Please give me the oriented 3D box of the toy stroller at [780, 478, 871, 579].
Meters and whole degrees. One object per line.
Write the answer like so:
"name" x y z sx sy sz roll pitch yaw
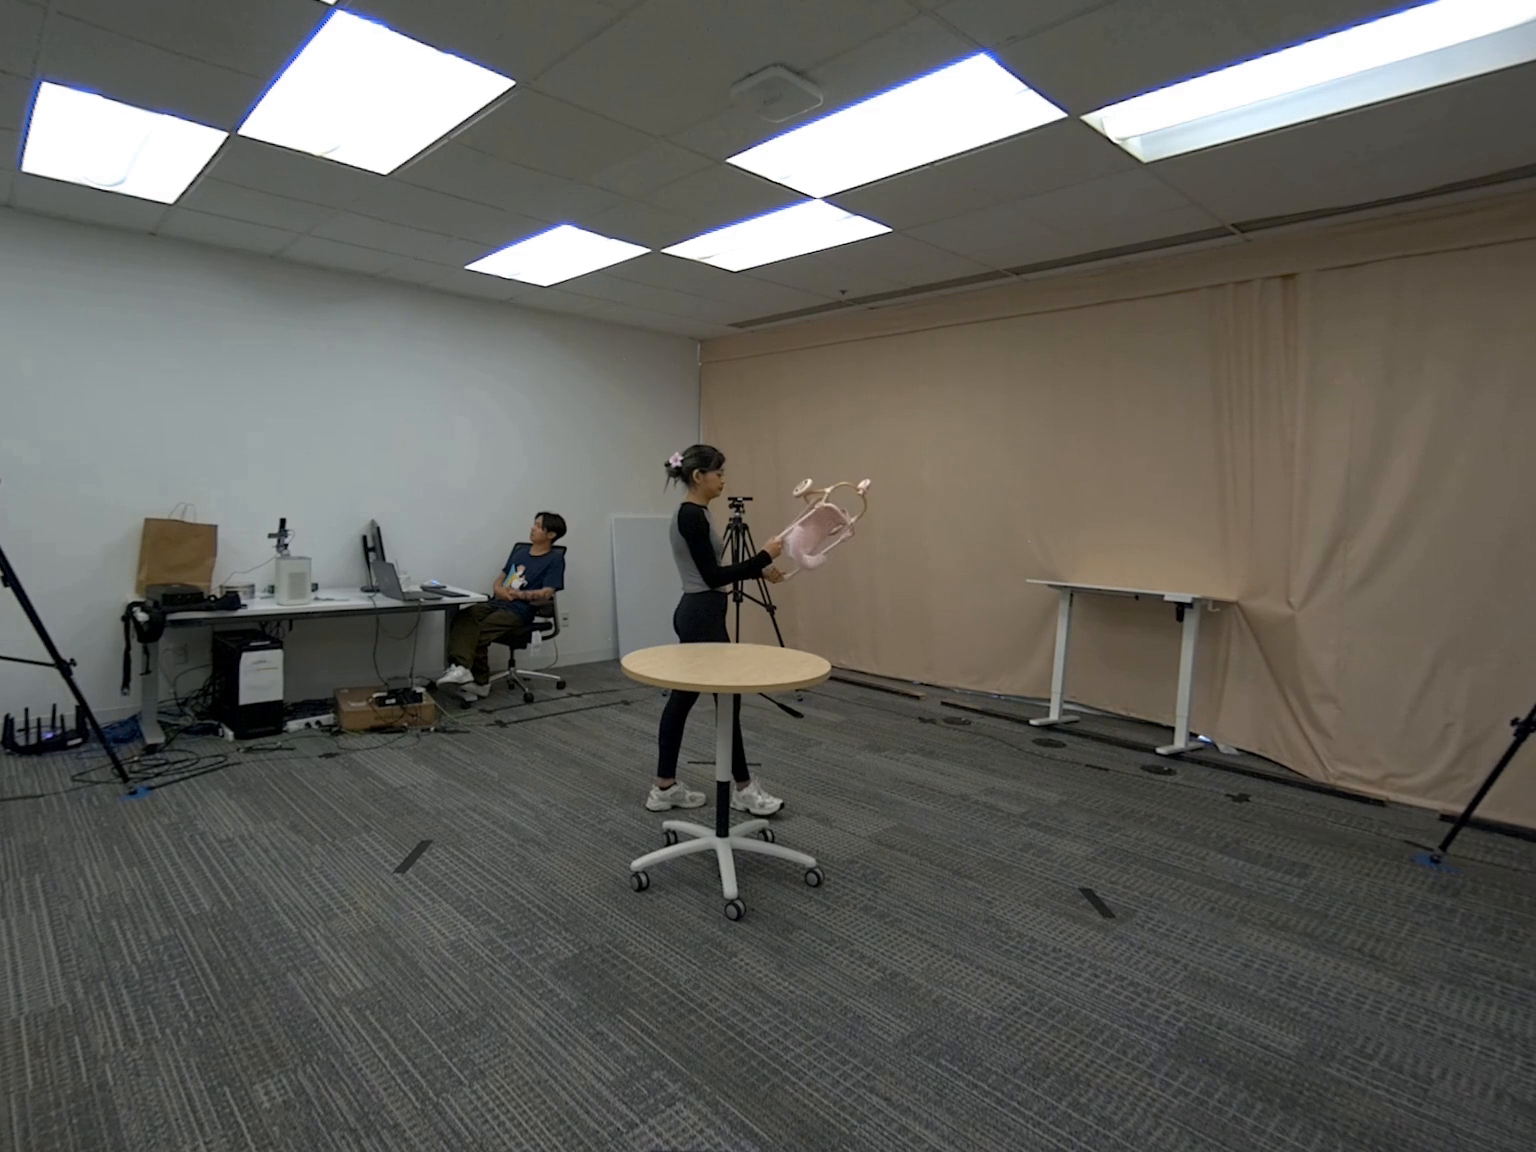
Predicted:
"toy stroller" 0.223 -0.222 3.733 0.349 0.274 0.537 -5 41 46
